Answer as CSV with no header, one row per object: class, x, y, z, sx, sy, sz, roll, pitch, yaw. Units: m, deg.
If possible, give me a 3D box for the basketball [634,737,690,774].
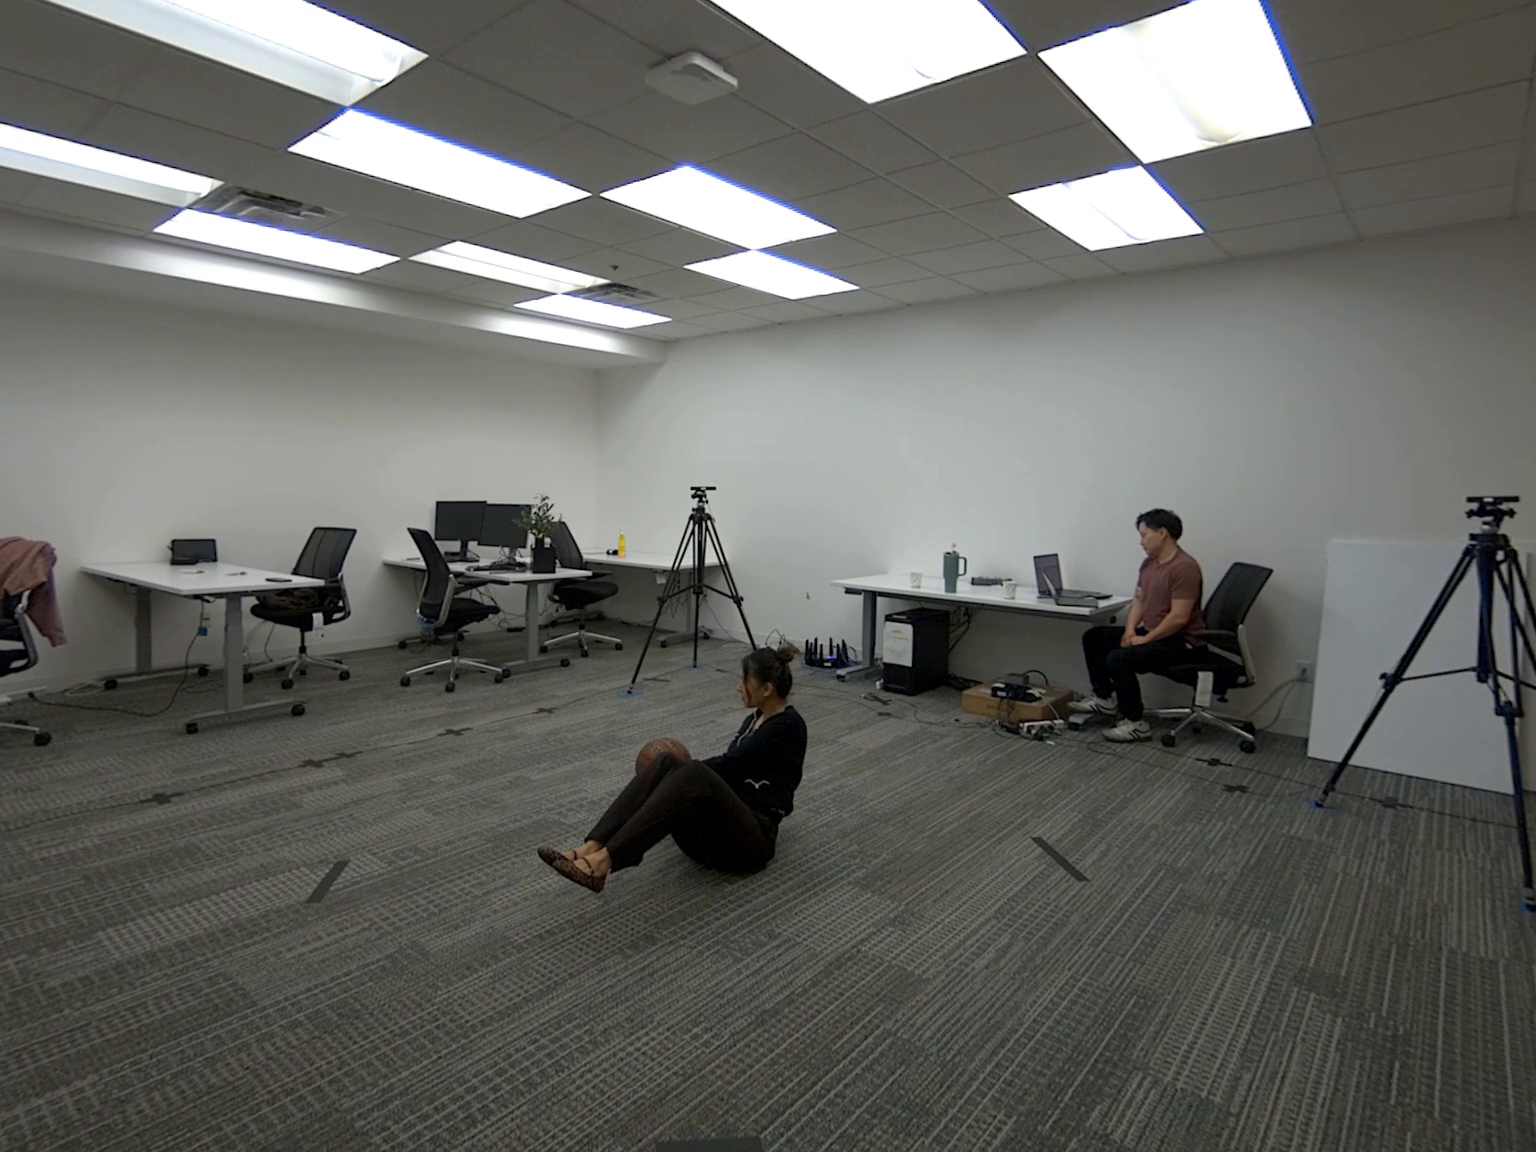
basketball,-0.444,0.773,3.497,0.235,0.235,0.237,1,4,-2
